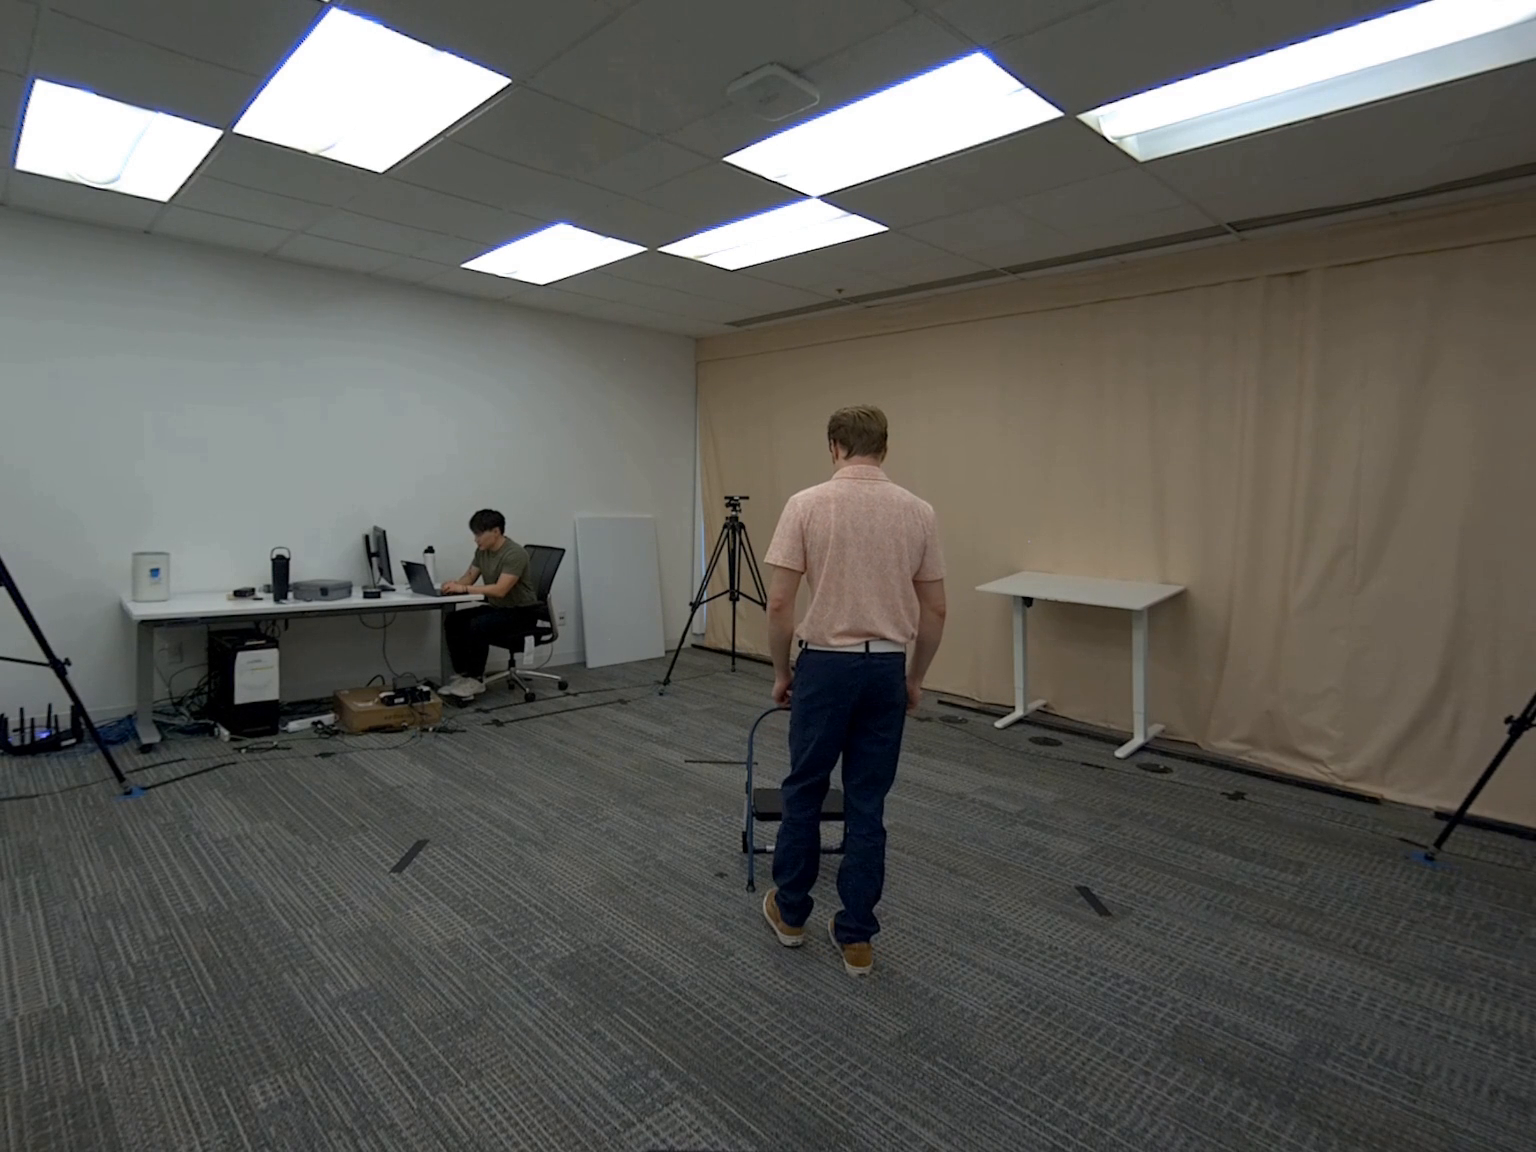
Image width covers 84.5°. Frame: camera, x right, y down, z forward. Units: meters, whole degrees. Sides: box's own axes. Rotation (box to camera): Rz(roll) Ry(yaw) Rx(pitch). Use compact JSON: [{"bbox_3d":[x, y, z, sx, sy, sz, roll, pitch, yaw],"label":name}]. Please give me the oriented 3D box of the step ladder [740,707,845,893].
[{"bbox_3d":[0.121,0.806,3.145,0.429,0.605,0.351,1,3,-5],"label":"step ladder"}]
